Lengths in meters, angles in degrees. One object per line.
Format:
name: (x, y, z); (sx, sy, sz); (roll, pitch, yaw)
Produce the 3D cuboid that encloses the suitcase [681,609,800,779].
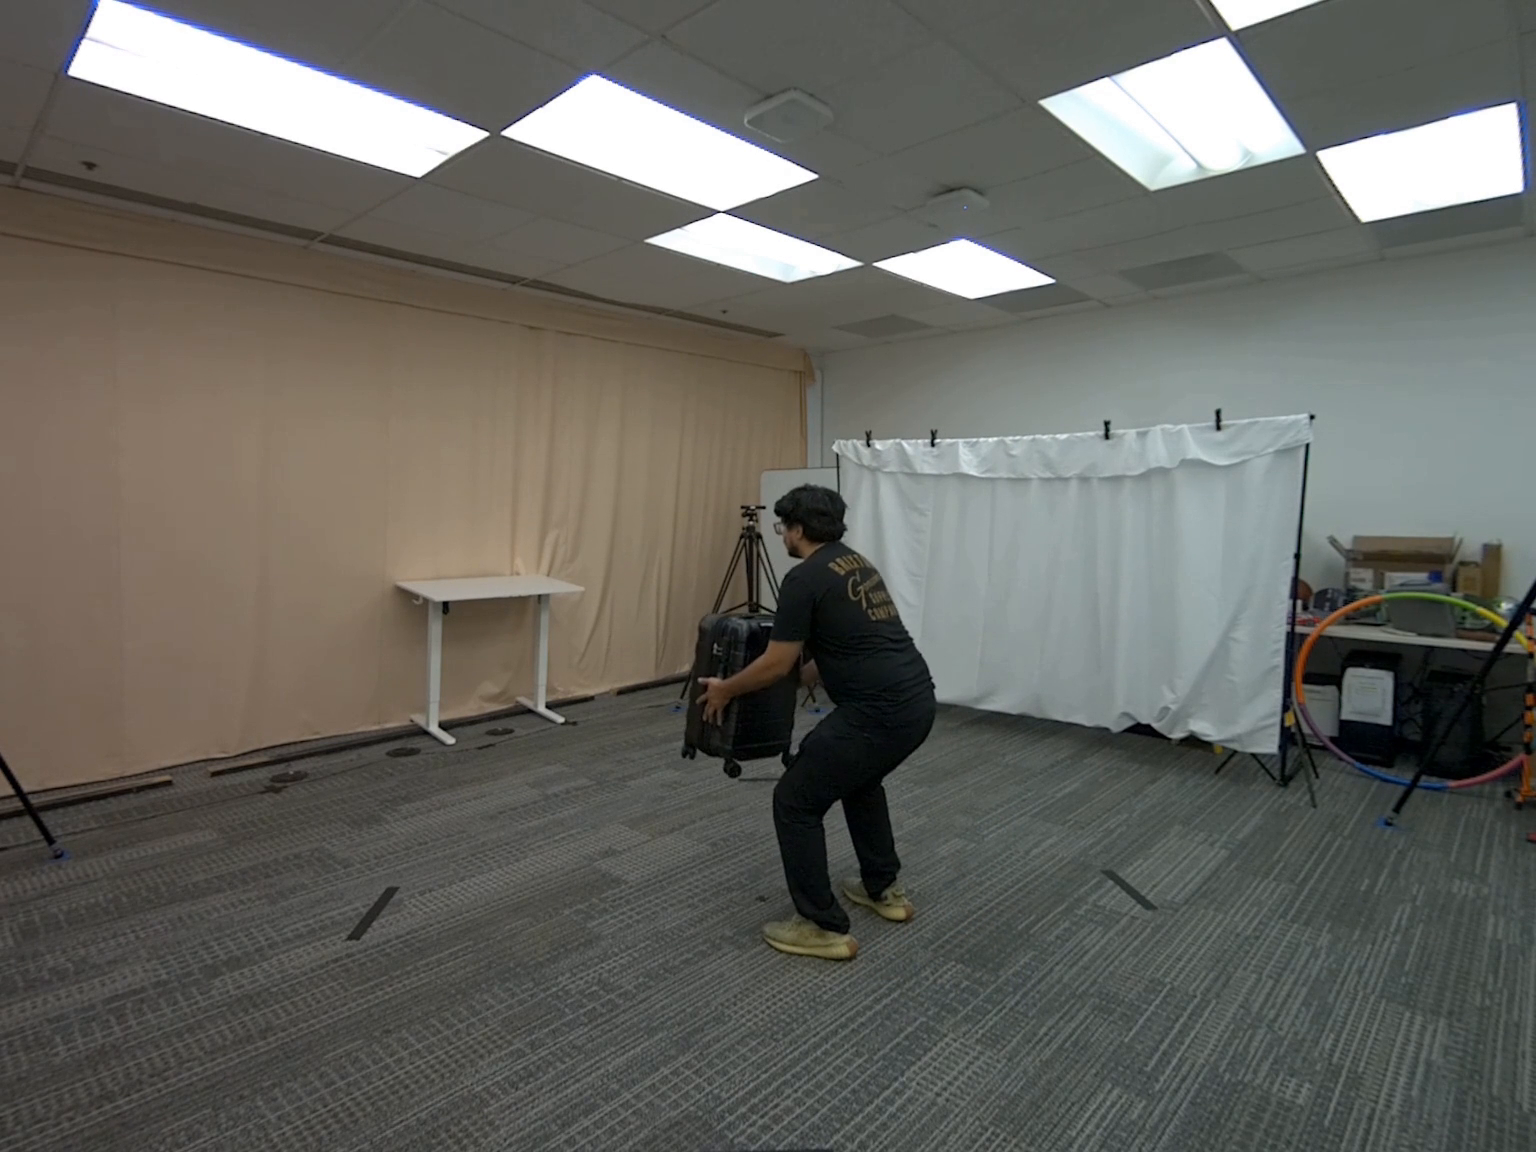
suitcase: (-0.087, 0.405, 3.044); (0.363, 0.549, 0.257); (3, 3, -44)
